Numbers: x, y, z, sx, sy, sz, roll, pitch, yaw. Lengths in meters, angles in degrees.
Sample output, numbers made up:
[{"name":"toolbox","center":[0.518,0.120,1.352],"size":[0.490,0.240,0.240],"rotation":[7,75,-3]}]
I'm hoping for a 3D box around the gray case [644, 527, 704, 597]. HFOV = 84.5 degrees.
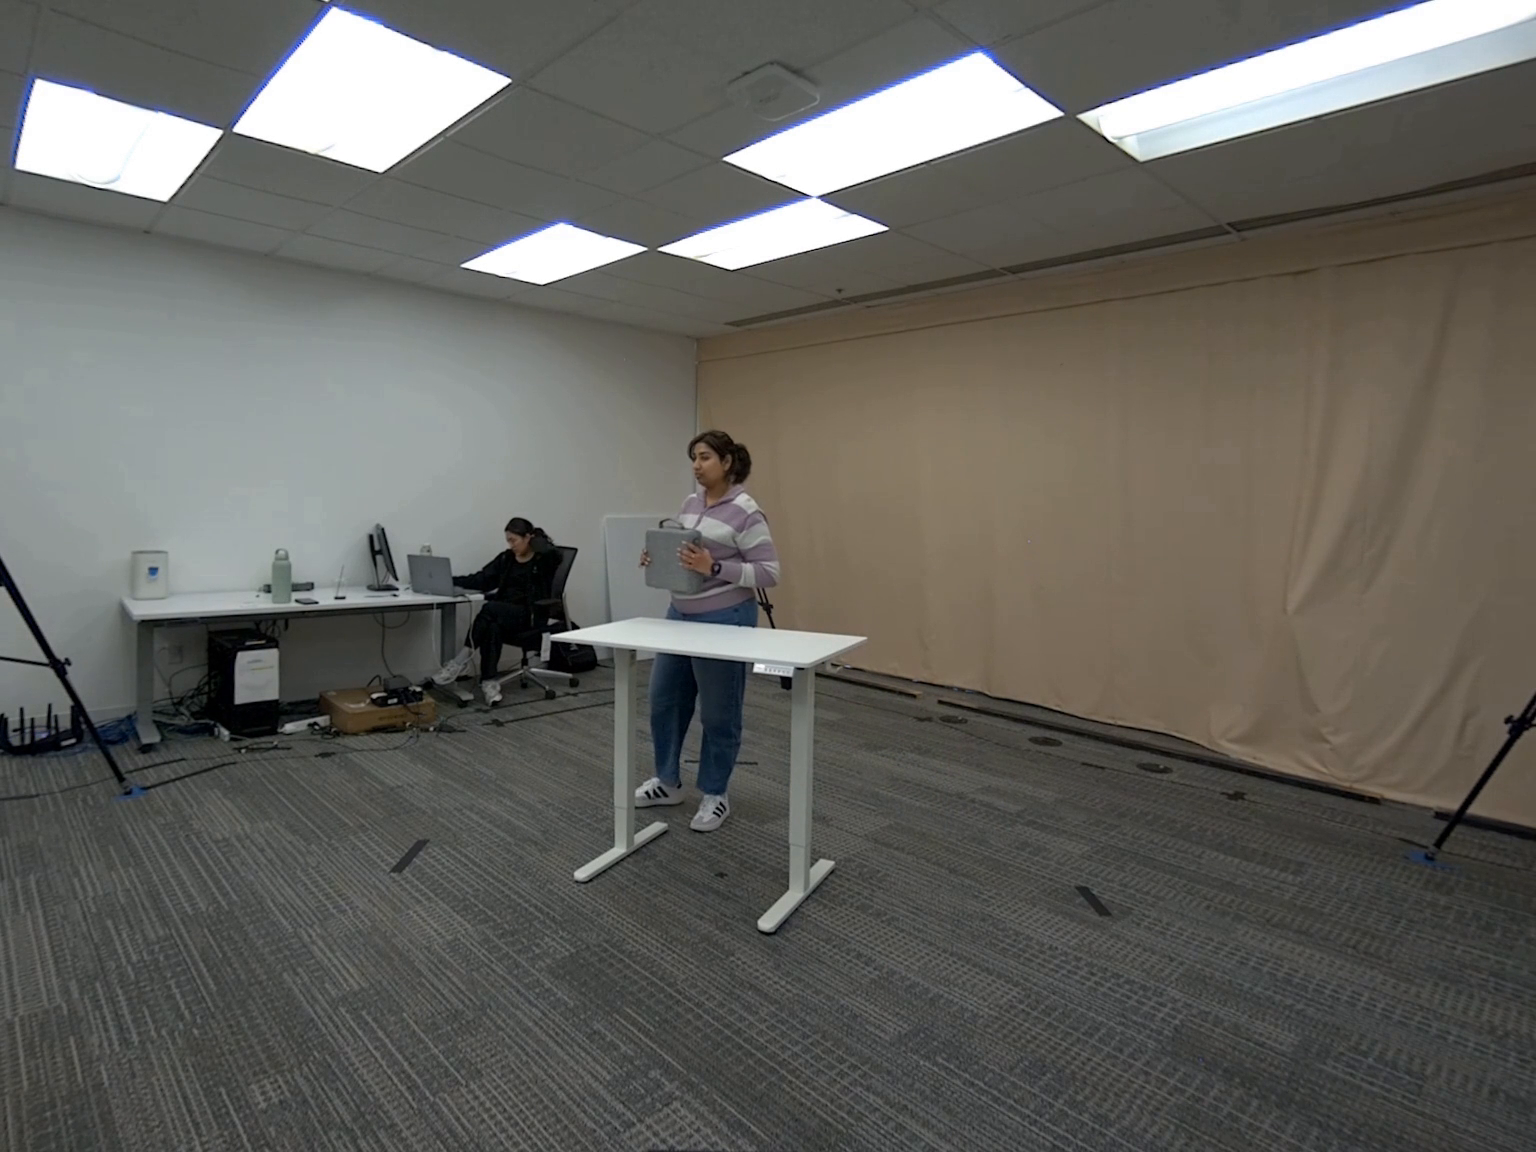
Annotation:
[{"name":"gray case","center":[-0.412,-0.078,3.451],"size":[0.262,0.259,0.102],"rotation":[6,9,29]}]
